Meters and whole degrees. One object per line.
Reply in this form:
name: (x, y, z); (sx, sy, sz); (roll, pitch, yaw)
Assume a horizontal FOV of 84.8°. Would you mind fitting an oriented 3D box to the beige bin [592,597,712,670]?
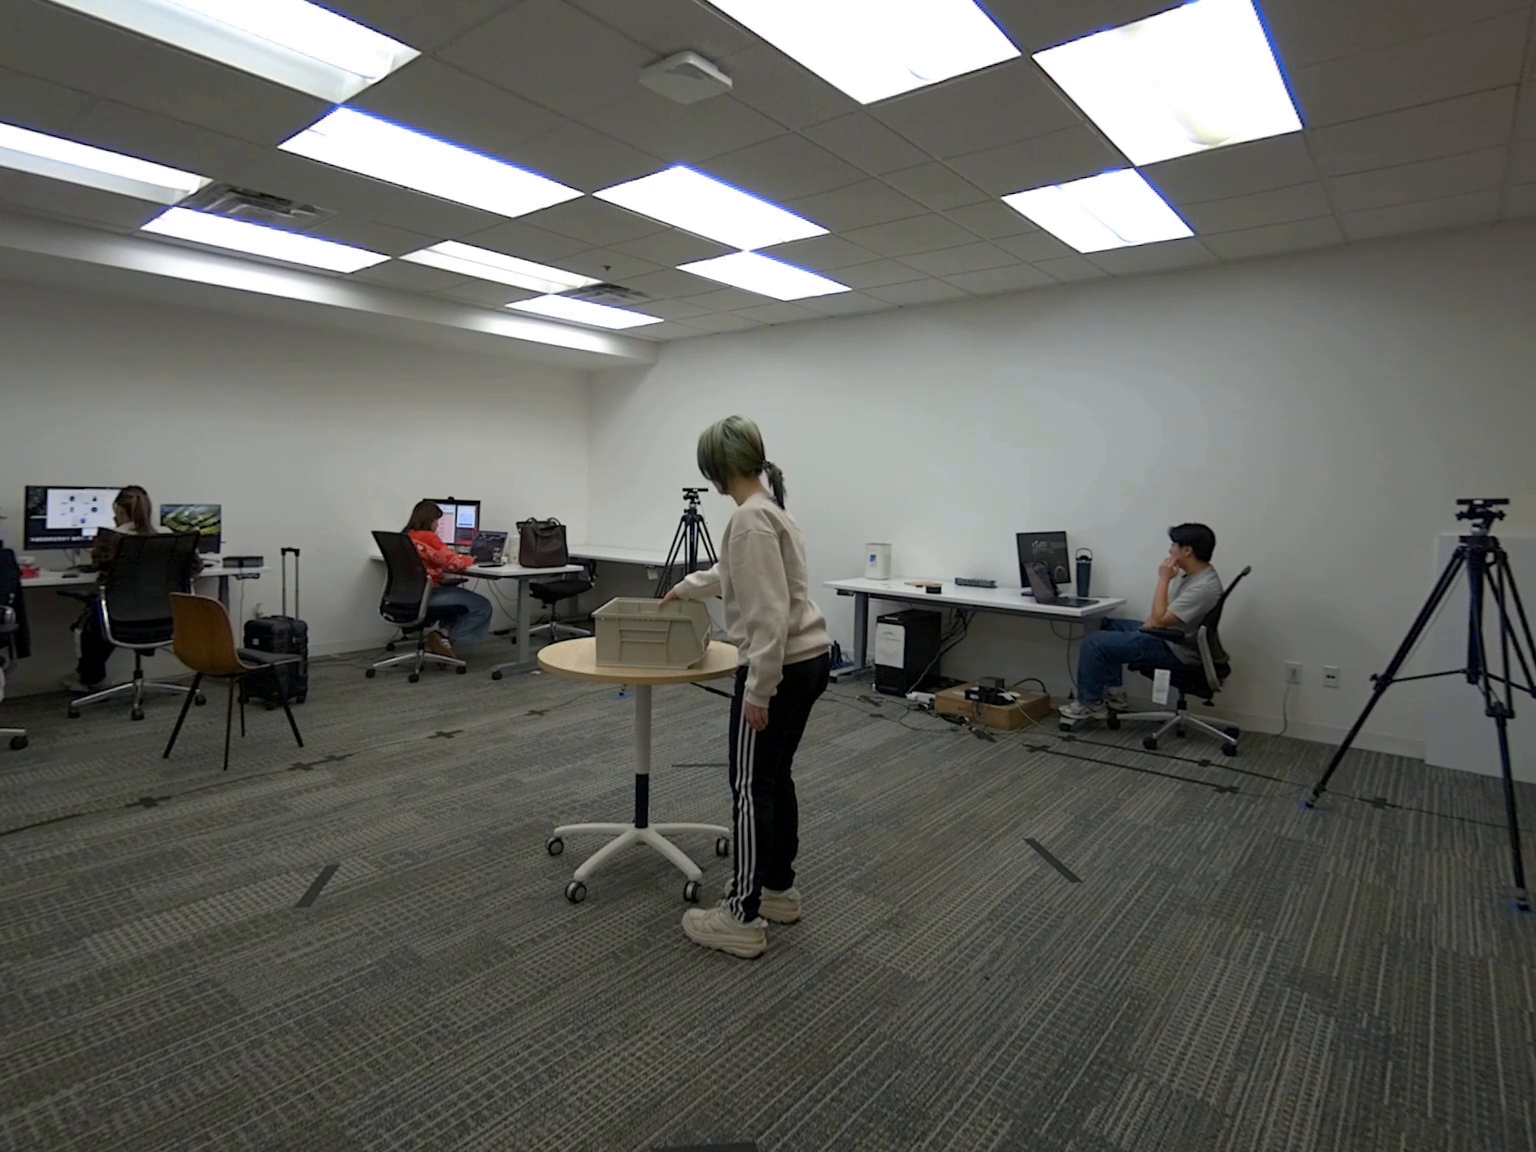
beige bin: (-0.413, 0.198, 3.050); (0.378, 0.188, 0.423); (-1, 6, 1)
